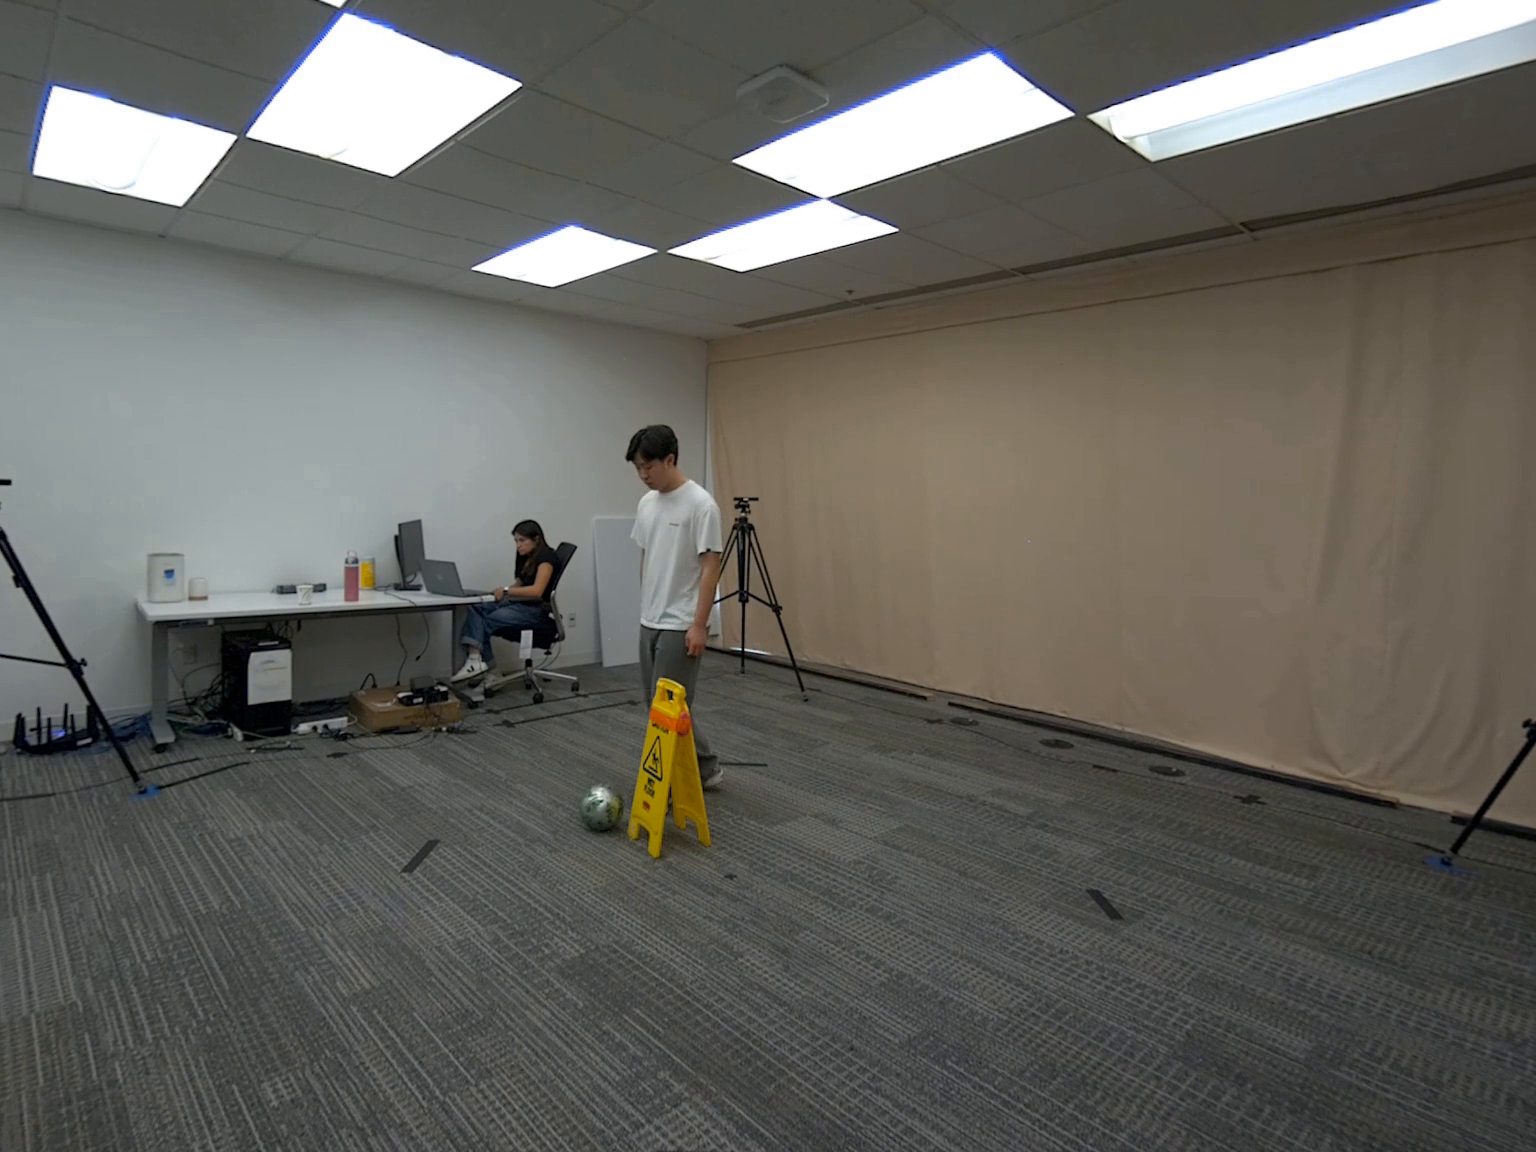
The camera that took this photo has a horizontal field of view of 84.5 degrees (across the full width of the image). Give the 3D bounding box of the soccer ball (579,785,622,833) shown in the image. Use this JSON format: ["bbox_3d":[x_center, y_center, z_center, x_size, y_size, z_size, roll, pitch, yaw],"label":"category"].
[{"bbox_3d":[-0.692,0.963,3.517,0.187,0.187,0.188,1,4,-1],"label":"soccer ball"}]
